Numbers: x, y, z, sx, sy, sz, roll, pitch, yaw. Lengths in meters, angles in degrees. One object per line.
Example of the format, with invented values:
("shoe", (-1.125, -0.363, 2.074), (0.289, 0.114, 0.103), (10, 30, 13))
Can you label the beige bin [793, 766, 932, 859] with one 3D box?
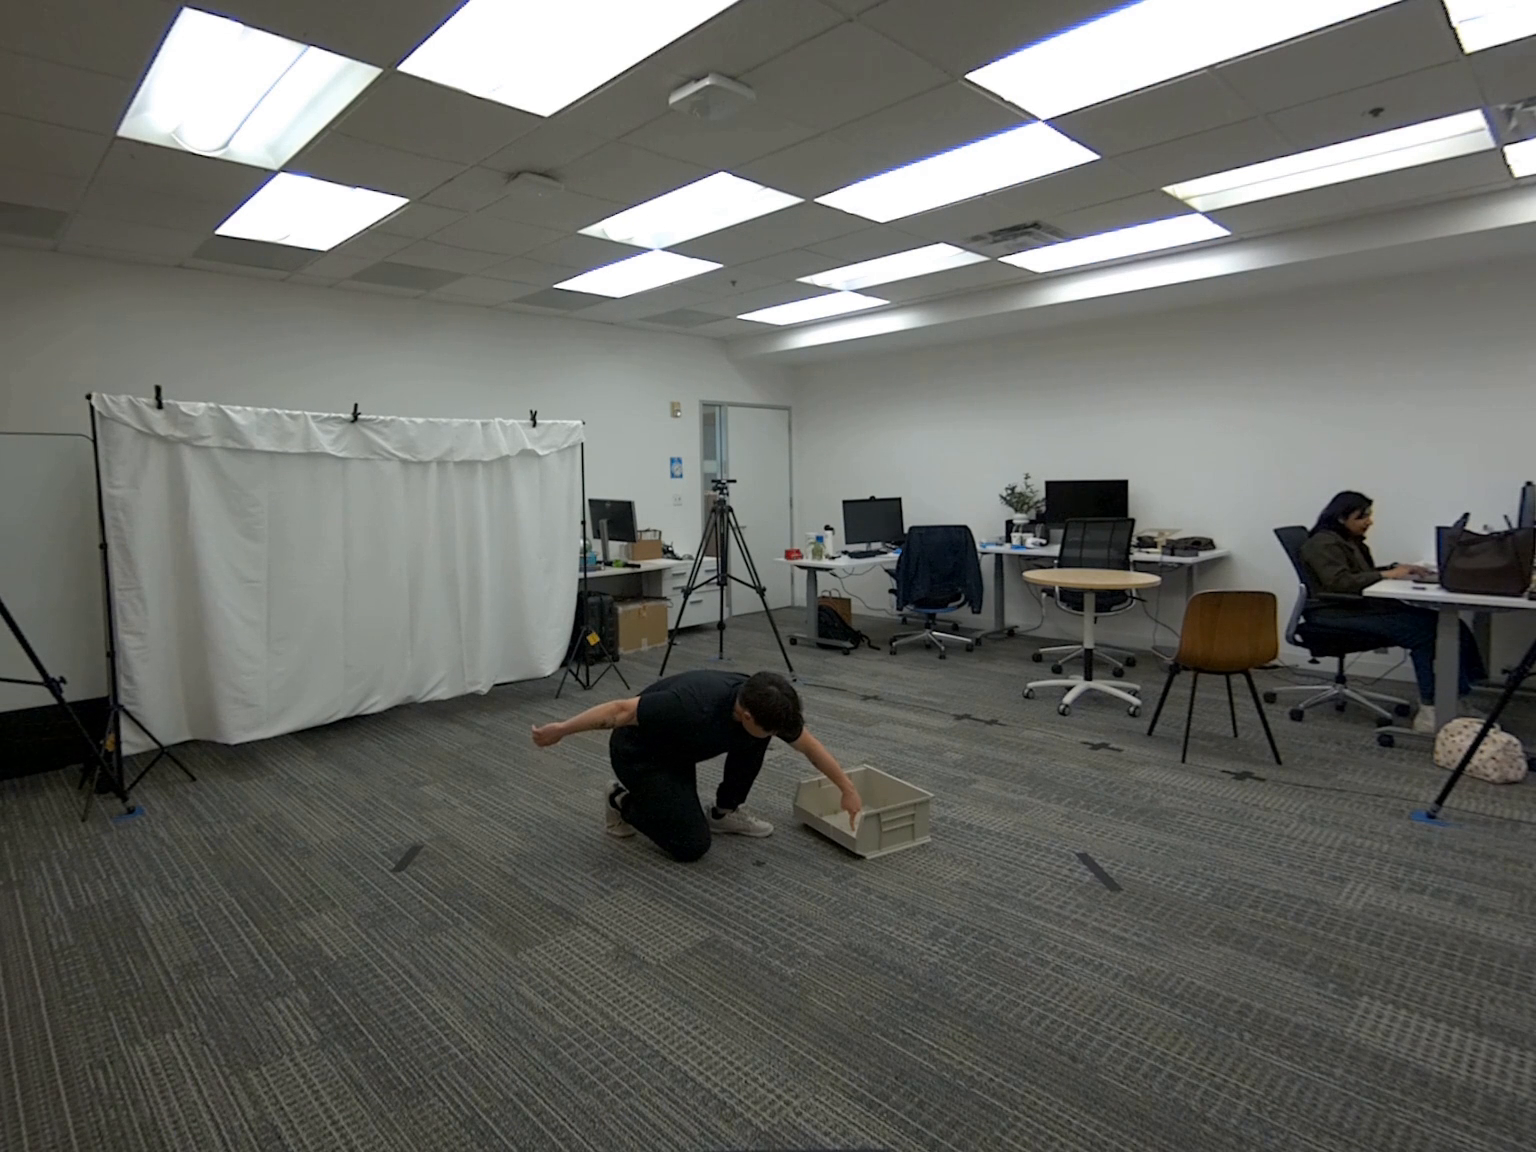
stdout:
("beige bin", (0.363, 0.916, 3.357), (0.368, 0.188, 0.434), (-4, 6, -31))
